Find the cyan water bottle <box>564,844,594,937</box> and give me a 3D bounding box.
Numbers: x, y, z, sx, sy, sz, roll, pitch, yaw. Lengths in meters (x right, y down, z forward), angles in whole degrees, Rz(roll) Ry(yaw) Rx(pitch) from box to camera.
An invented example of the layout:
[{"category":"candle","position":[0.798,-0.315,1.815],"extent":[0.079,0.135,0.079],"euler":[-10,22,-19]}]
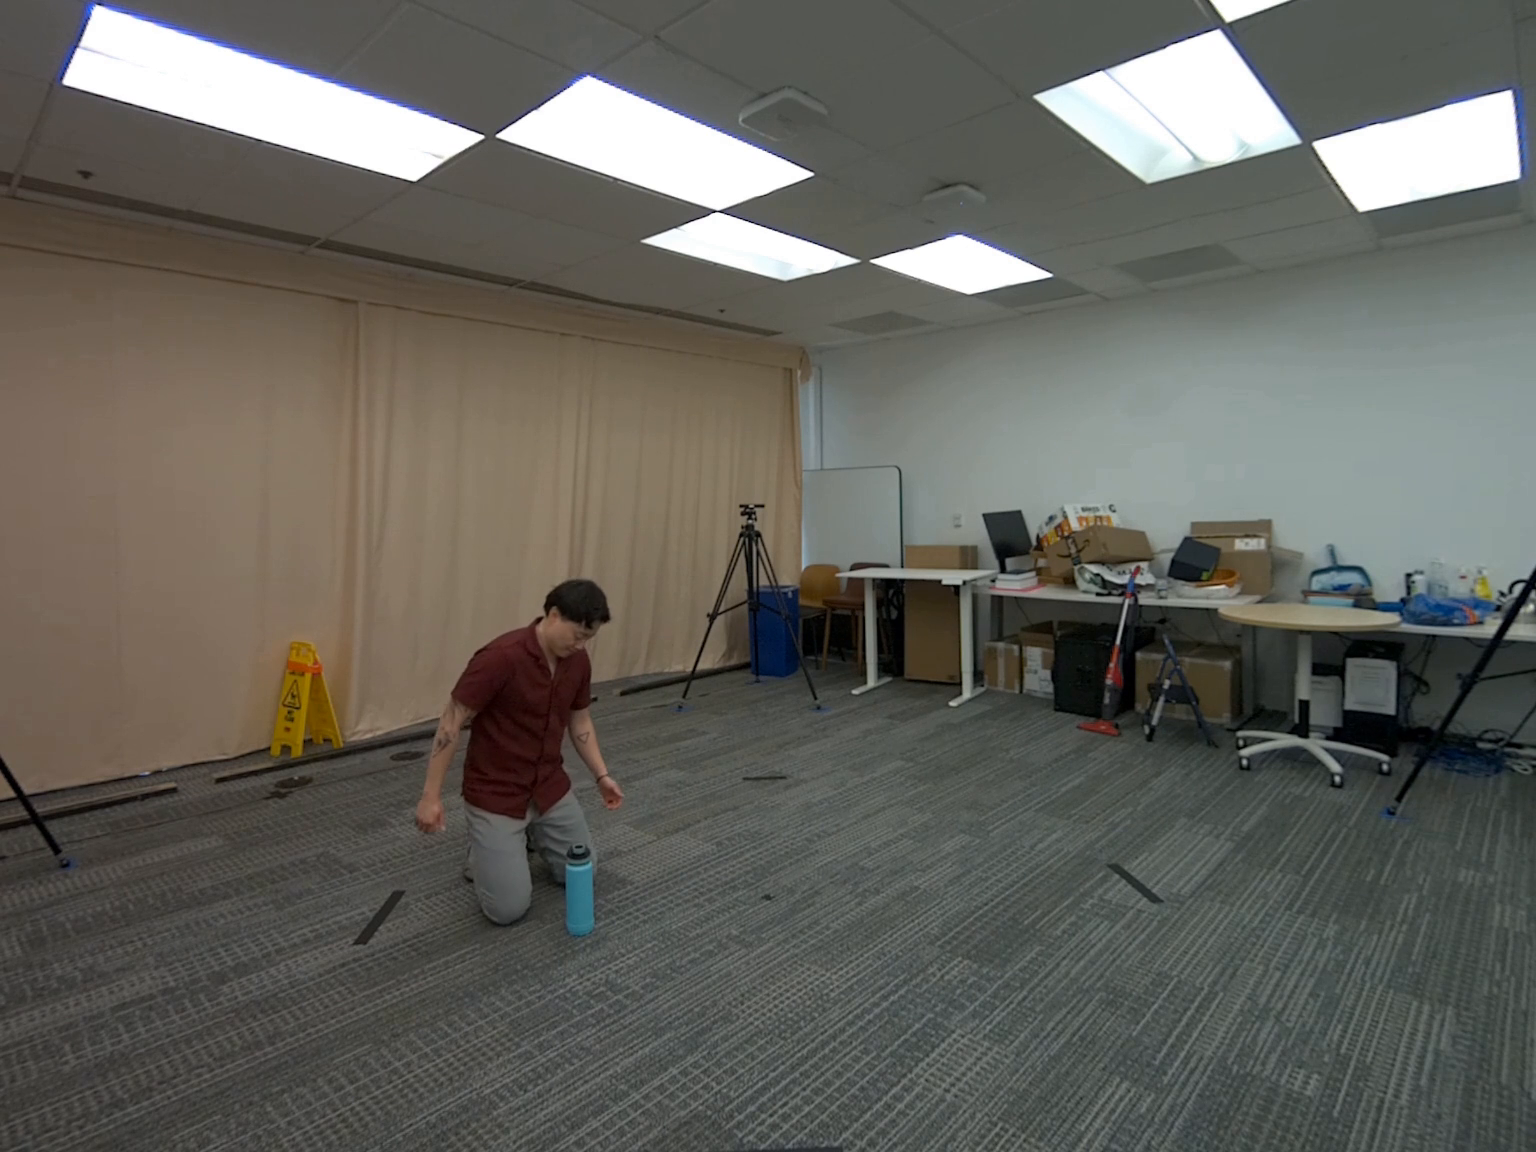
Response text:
[{"category":"cyan water bottle","position":[-0.624,1.033,2.781],"extent":[0.092,0.283,0.092],"euler":[0,1,-2]}]
